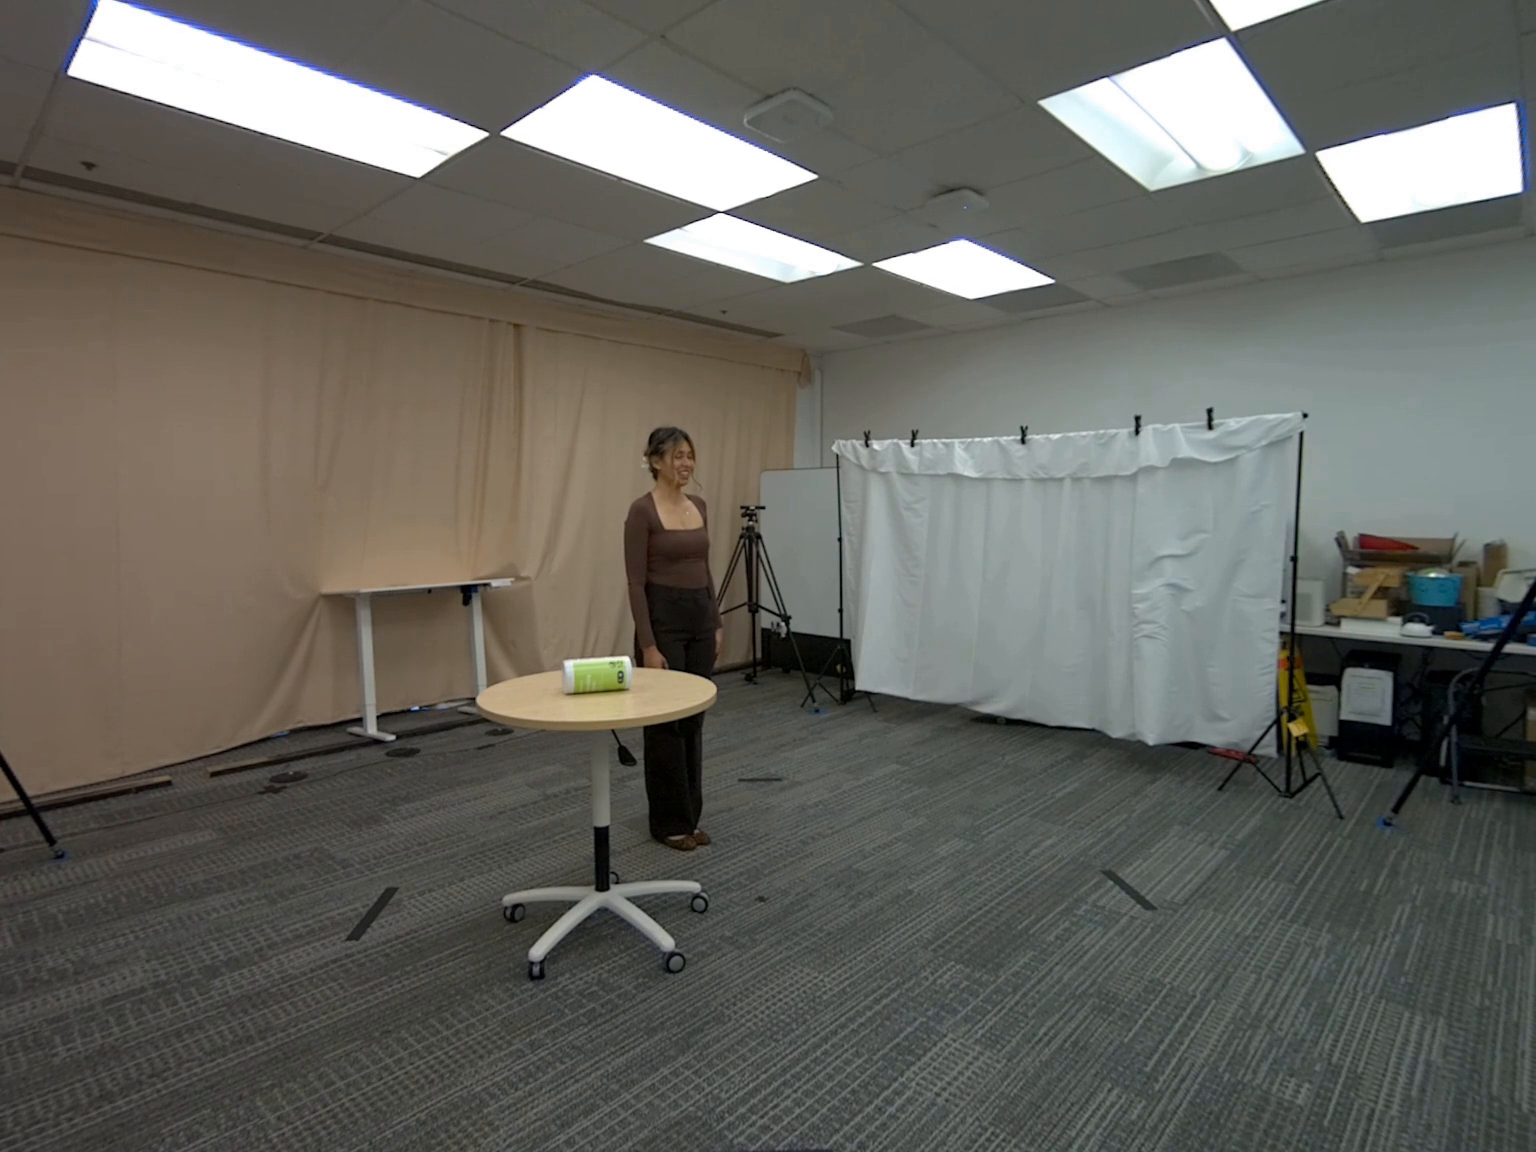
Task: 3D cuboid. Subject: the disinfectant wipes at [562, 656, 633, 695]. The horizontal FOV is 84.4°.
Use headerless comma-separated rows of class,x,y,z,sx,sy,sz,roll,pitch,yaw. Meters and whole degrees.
disinfectant wipes,-0.554,0.319,2.729,0.214,0.117,0.120,-3,4,-13
